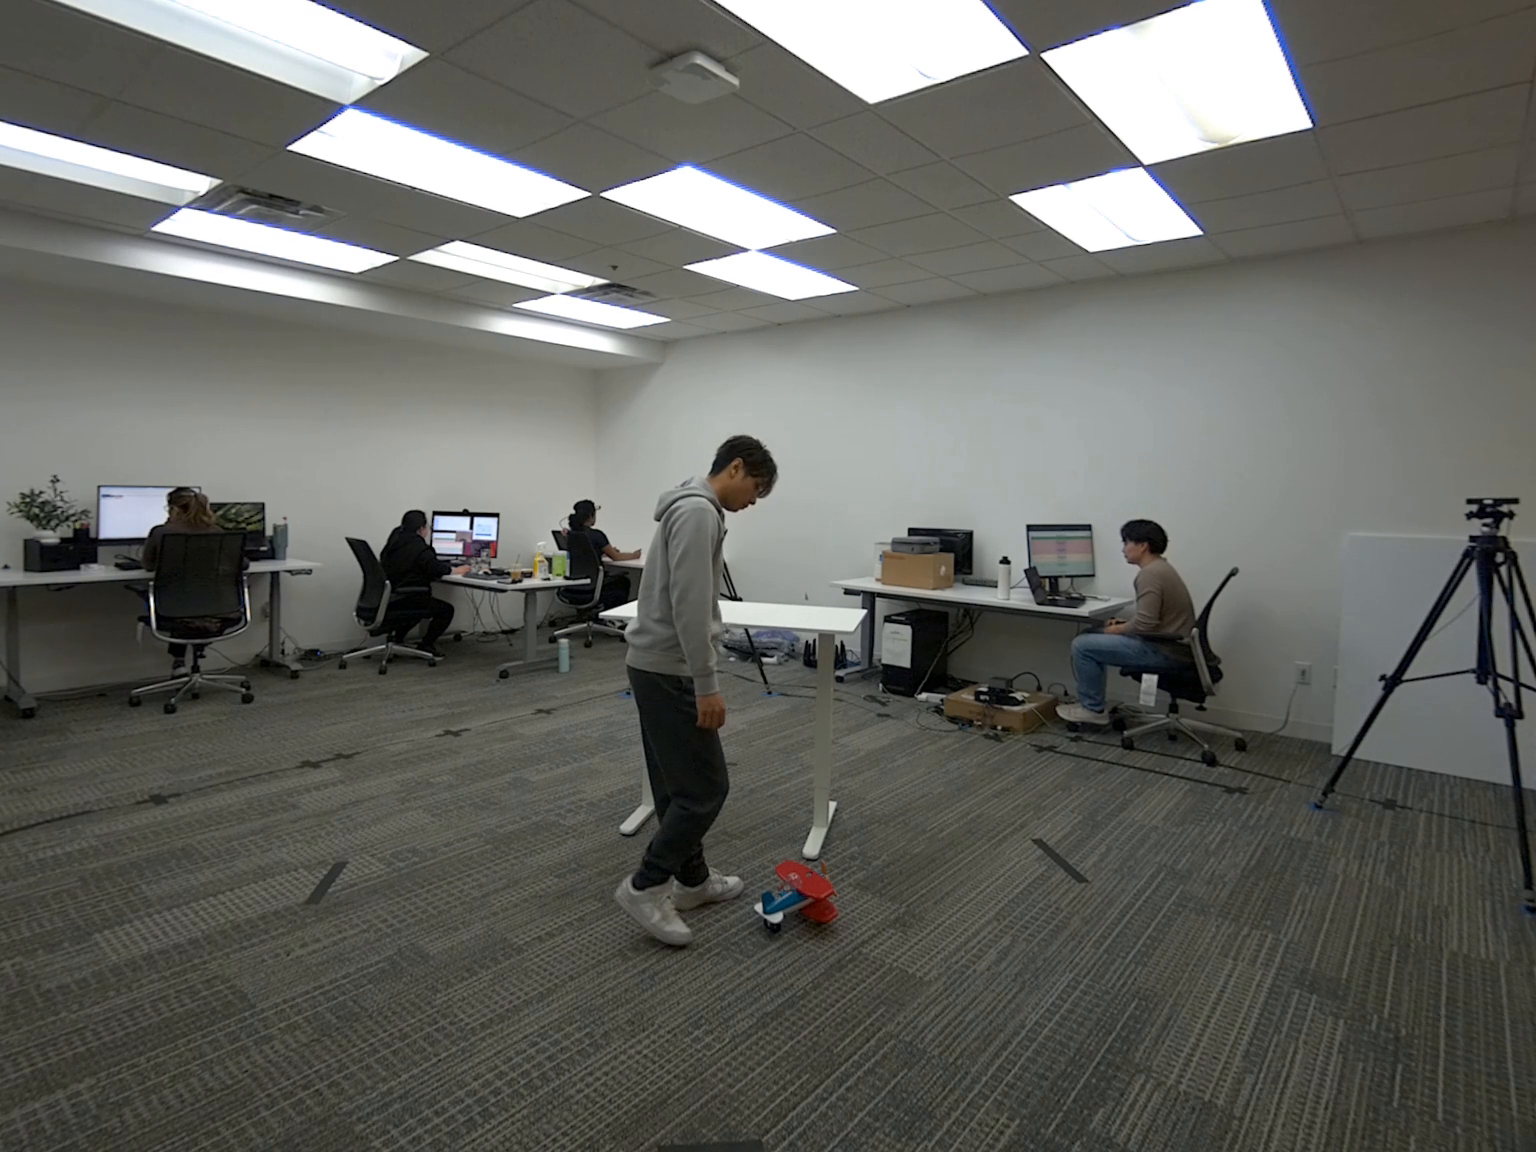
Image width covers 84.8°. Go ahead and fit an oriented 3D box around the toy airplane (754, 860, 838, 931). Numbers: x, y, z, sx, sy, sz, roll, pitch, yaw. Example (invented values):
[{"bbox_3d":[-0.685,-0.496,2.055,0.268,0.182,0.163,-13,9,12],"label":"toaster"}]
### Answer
[{"bbox_3d":[0.098,1.037,2.717,0.258,0.156,0.252,5,5,28],"label":"toy airplane"}]
